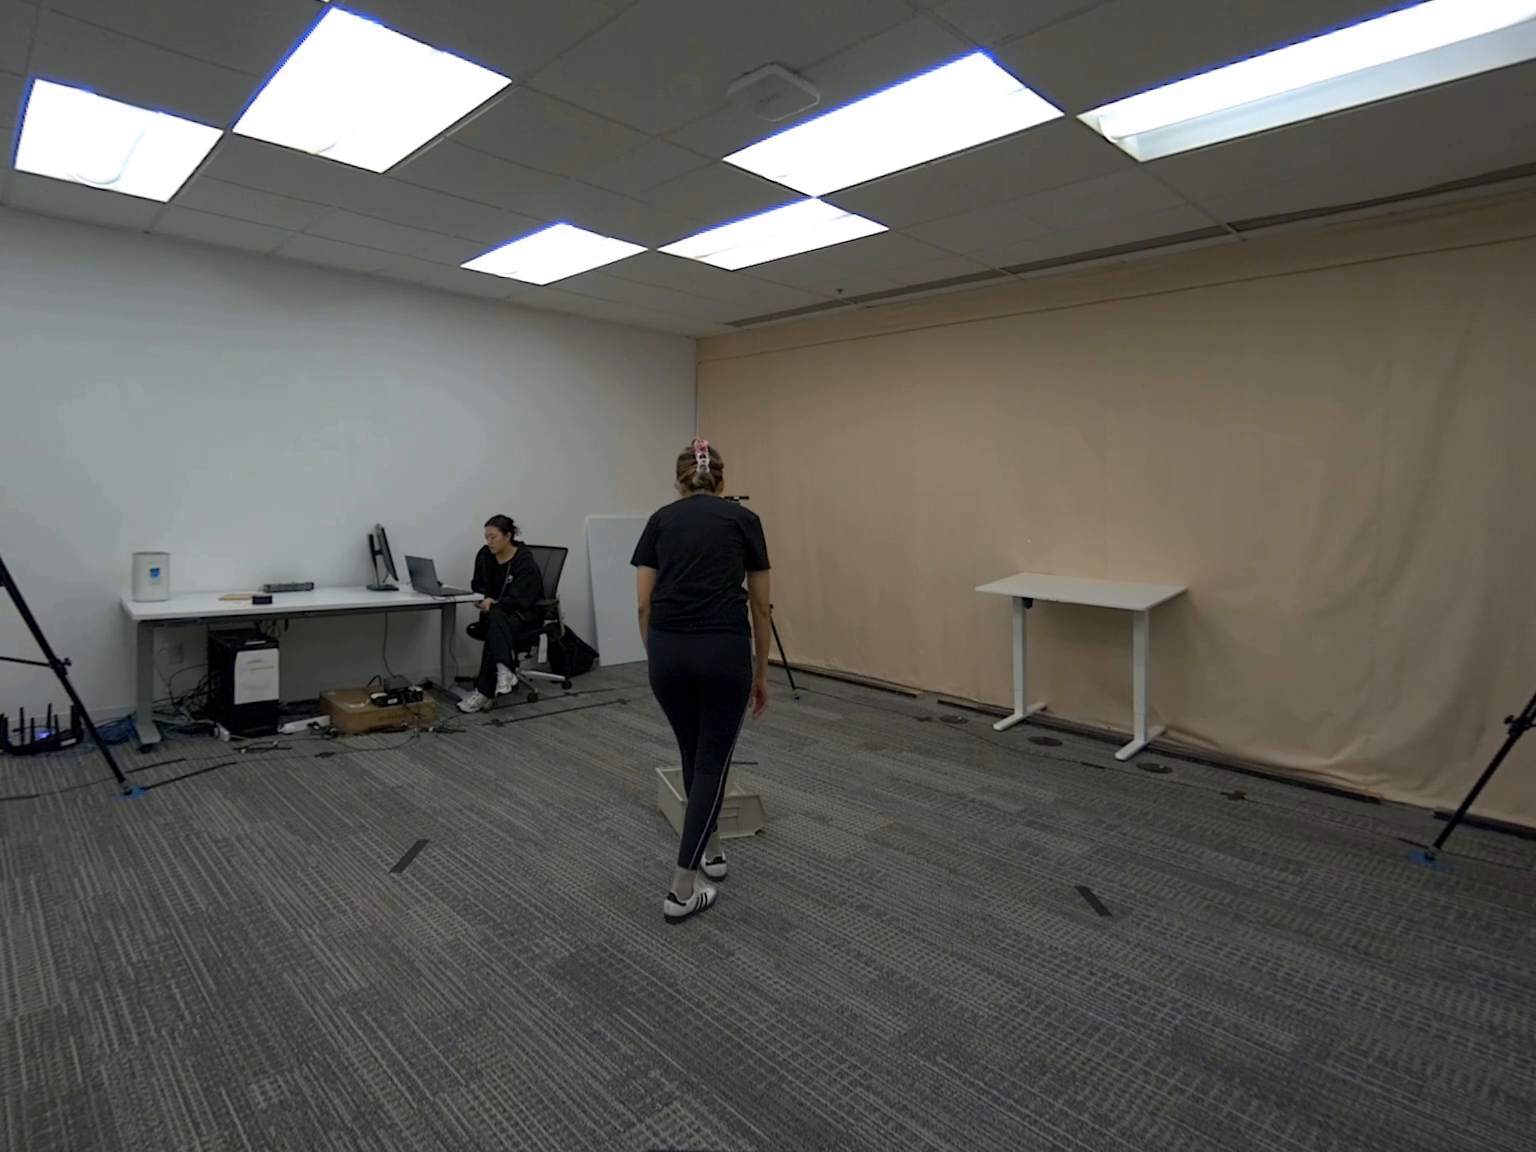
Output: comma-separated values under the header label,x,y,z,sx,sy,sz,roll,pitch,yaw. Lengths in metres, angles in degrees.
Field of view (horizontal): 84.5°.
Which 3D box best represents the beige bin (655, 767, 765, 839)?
label,x,y,z,sx,sy,sz,roll,pitch,yaw
beige bin,-0.262,0.968,3.626,0.371,0.188,0.430,-1,6,-21
